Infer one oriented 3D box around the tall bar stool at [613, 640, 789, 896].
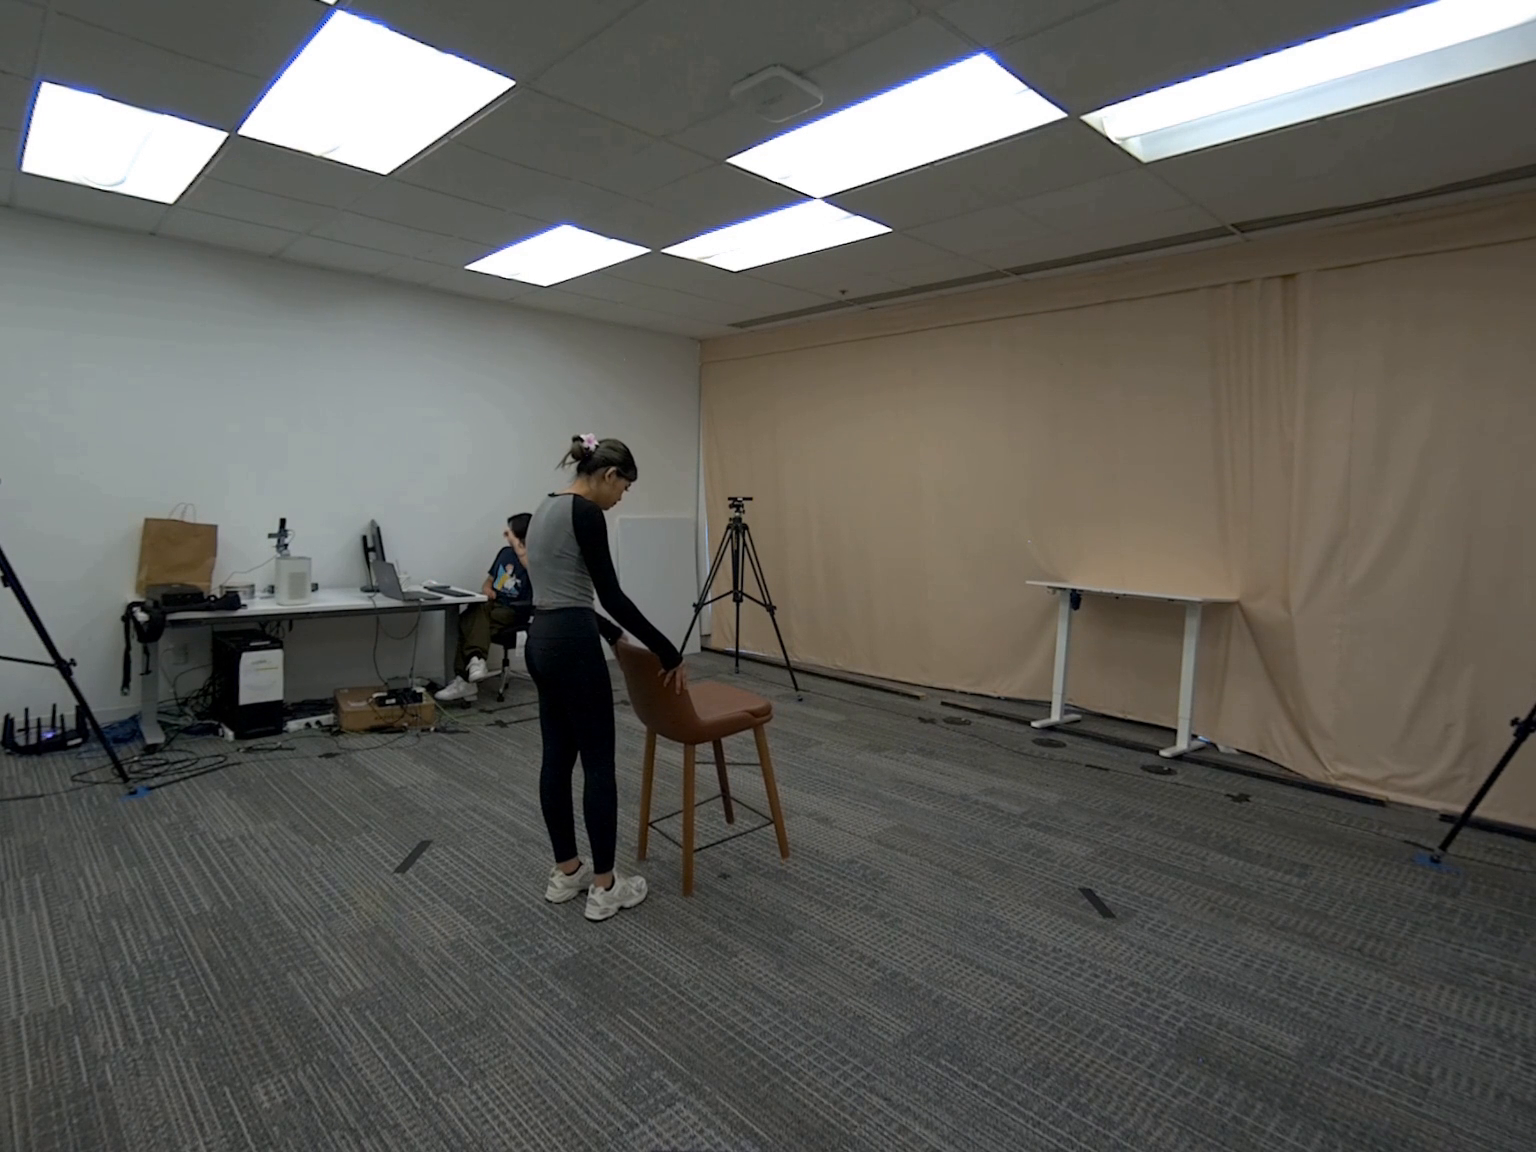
[{"bbox_3d":[-0.262,0.643,3.150,0.459,0.883,0.467,-11,10,-33],"label":"tall bar stool"}]
